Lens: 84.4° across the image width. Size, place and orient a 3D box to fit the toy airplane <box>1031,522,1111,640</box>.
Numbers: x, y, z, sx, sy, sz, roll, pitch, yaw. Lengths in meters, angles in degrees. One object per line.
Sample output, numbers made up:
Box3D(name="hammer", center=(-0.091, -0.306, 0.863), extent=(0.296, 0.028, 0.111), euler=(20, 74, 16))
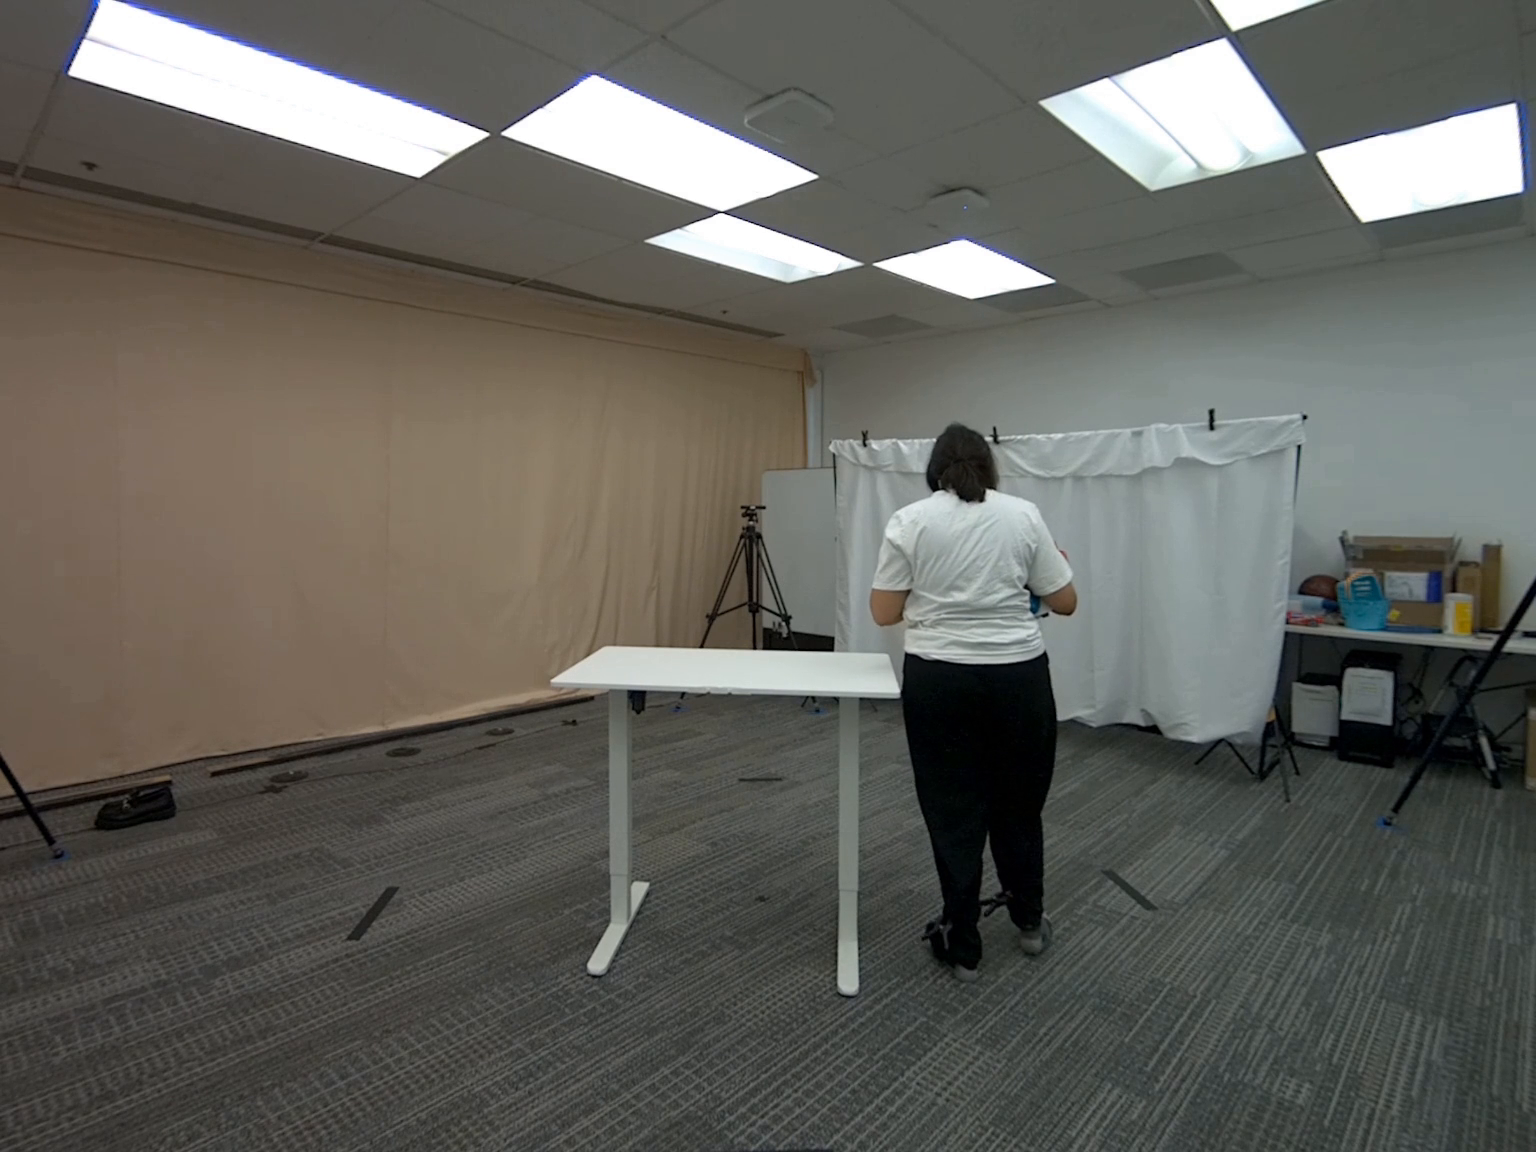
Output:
Box3D(name="toy airplane", center=(0.829, 0.002, 2.587), extent=(0.151, 0.252, 0.267), euler=(45, 7, -33))
